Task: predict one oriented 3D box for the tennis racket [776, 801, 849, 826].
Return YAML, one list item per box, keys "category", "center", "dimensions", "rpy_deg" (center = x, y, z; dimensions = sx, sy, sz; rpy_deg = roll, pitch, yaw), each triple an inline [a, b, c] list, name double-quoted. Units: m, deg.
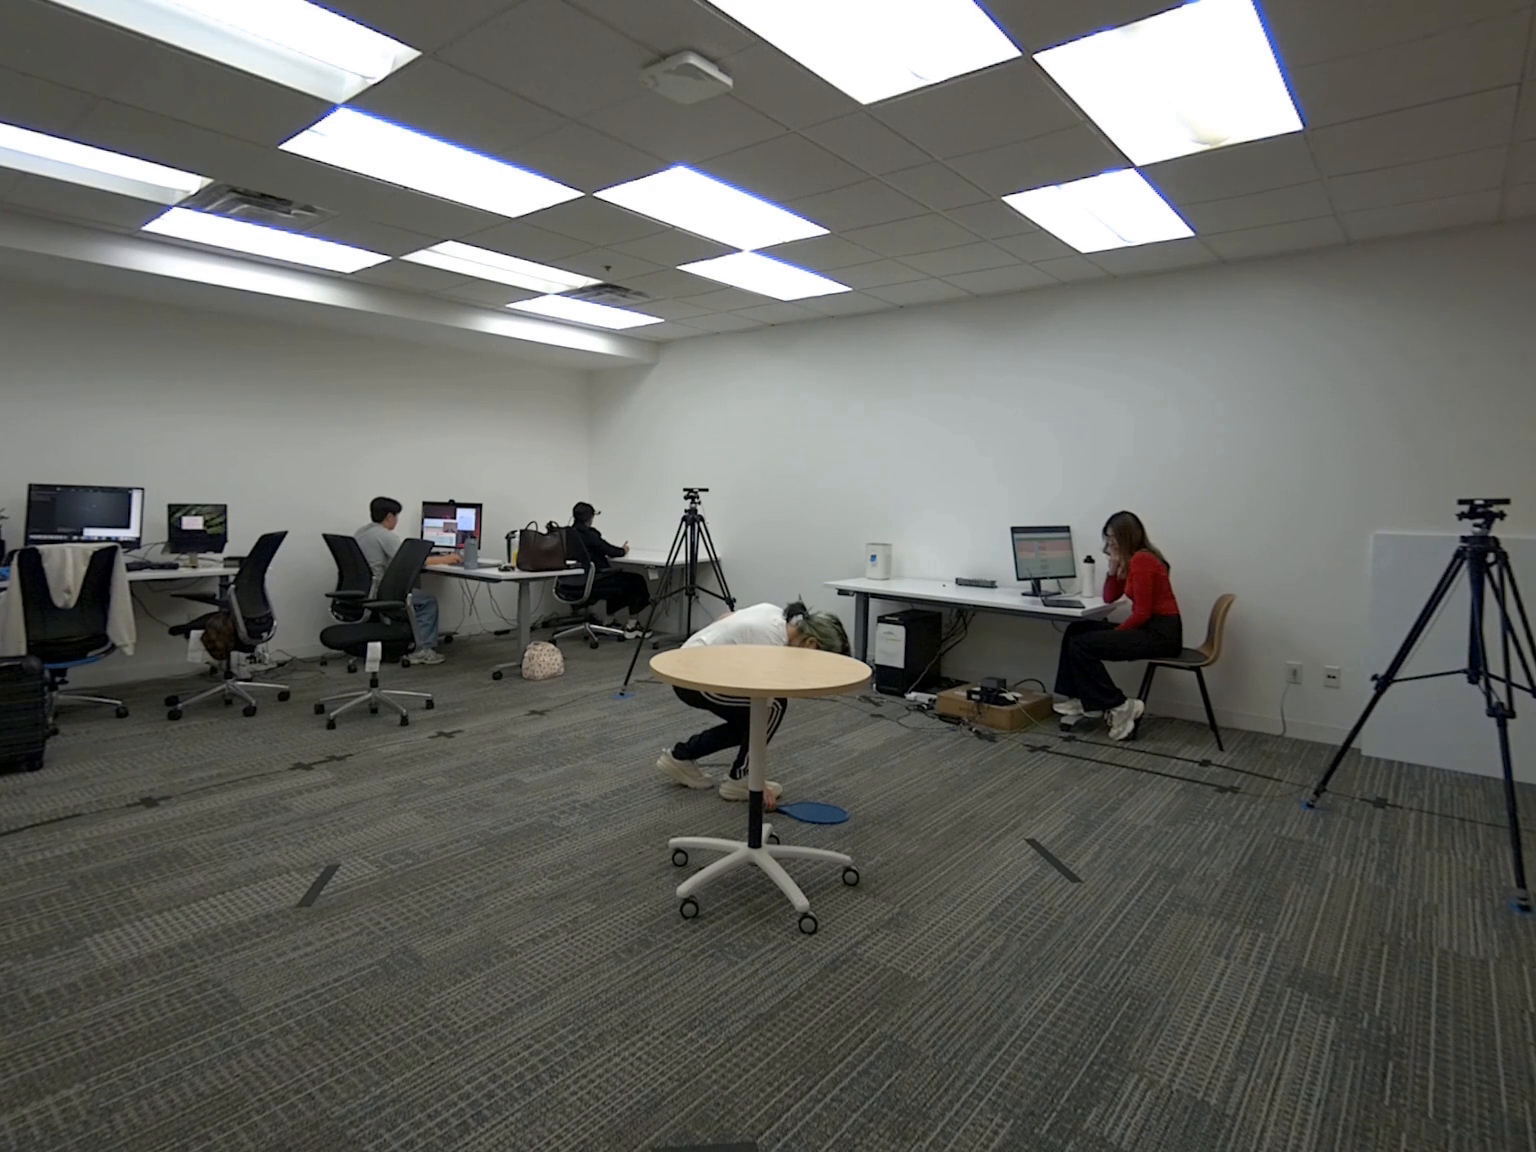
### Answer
- category: "tennis racket"
  center: [0.129, 1.004, 3.675]
  dimensions: [0.438, 0.031, 0.212]
  rpy_deg: [4, 7, 11]
